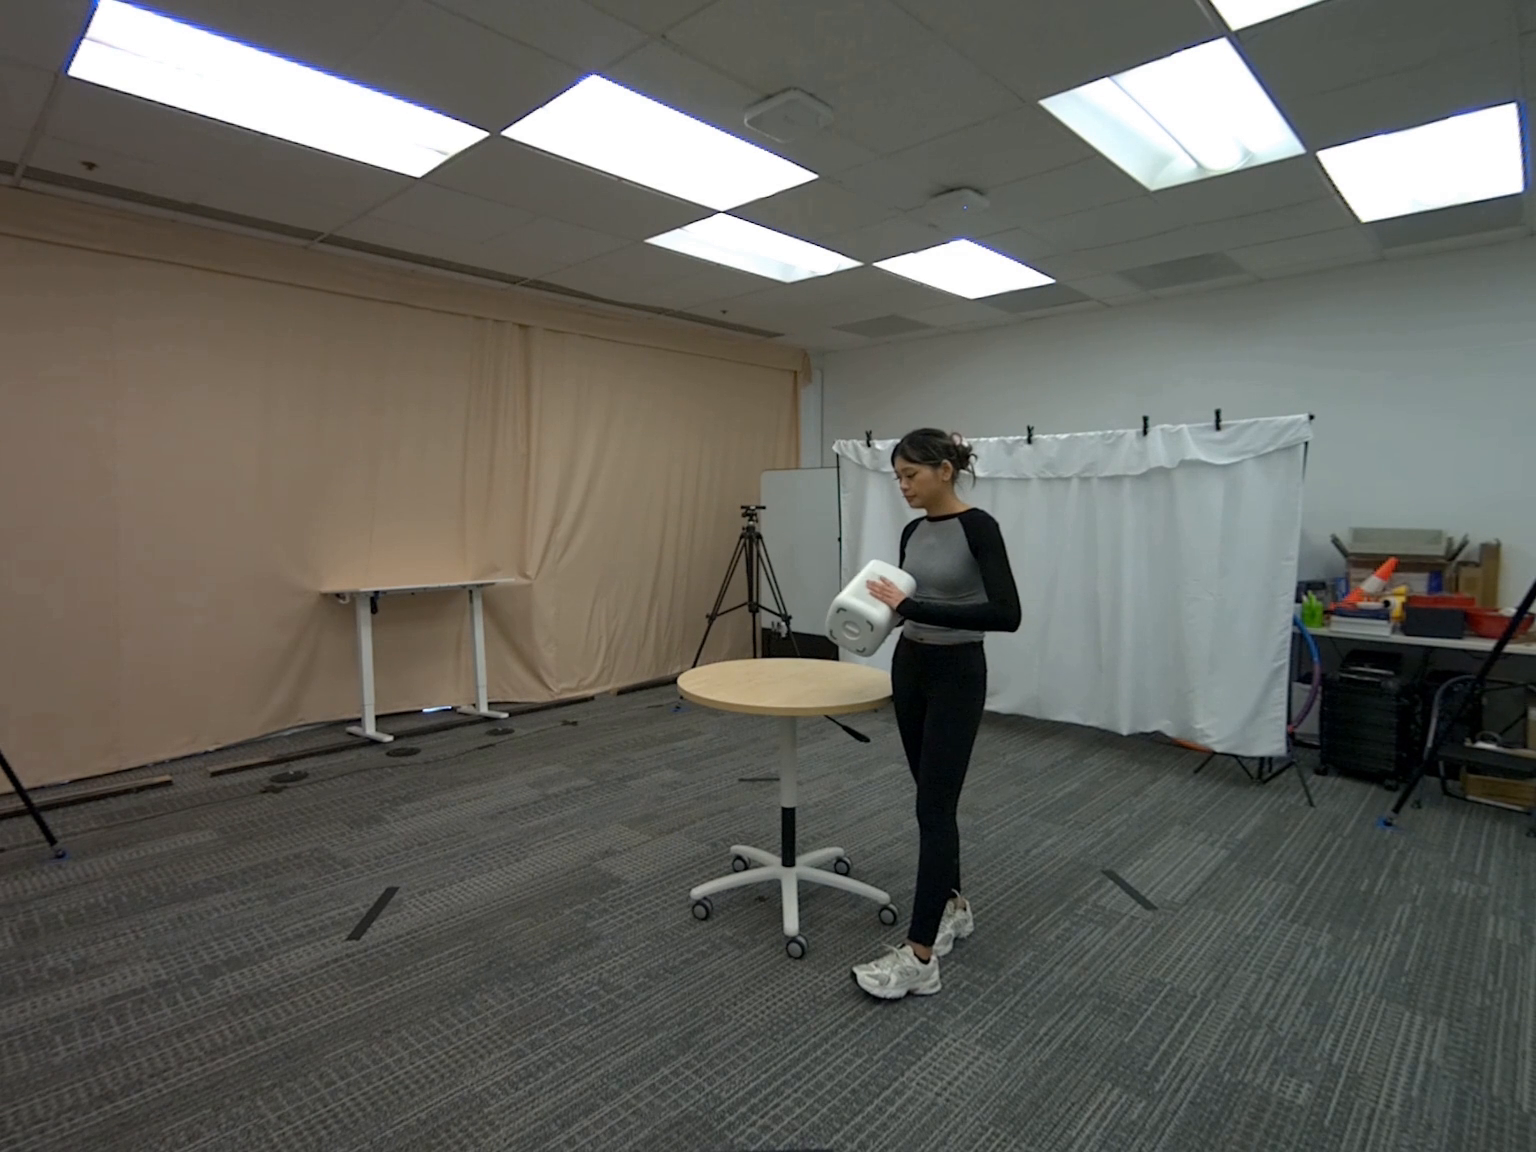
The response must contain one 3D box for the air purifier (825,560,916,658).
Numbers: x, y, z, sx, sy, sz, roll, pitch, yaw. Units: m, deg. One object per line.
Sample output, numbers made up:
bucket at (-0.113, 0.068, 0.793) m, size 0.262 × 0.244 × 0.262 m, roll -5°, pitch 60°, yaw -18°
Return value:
air purifier at (0.299, 0.096, 2.478) m, size 0.175 × 0.169 × 0.262 m, roll 27°, pitch 38°, yaw 18°
